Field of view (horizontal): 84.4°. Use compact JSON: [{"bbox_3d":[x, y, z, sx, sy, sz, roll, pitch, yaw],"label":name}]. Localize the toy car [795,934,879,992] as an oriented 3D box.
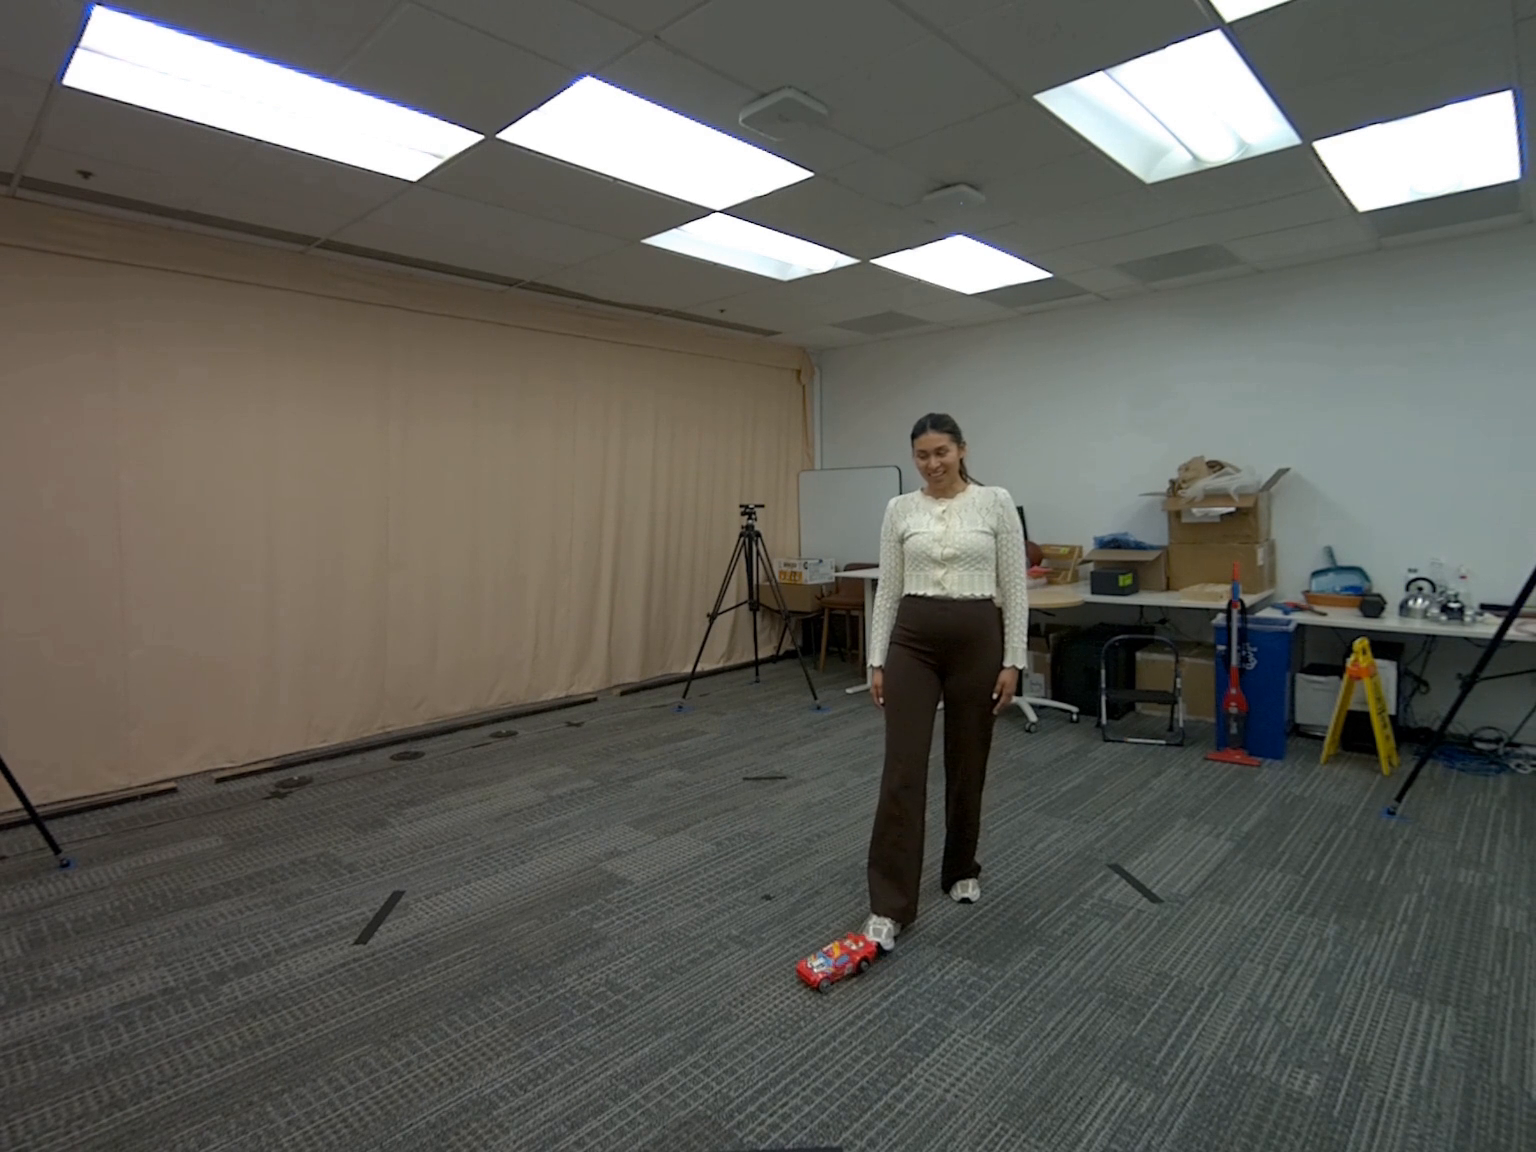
[{"bbox_3d":[0.216,1.144,2.487,0.249,0.082,0.134,-19,14,-29],"label":"toy car"}]
